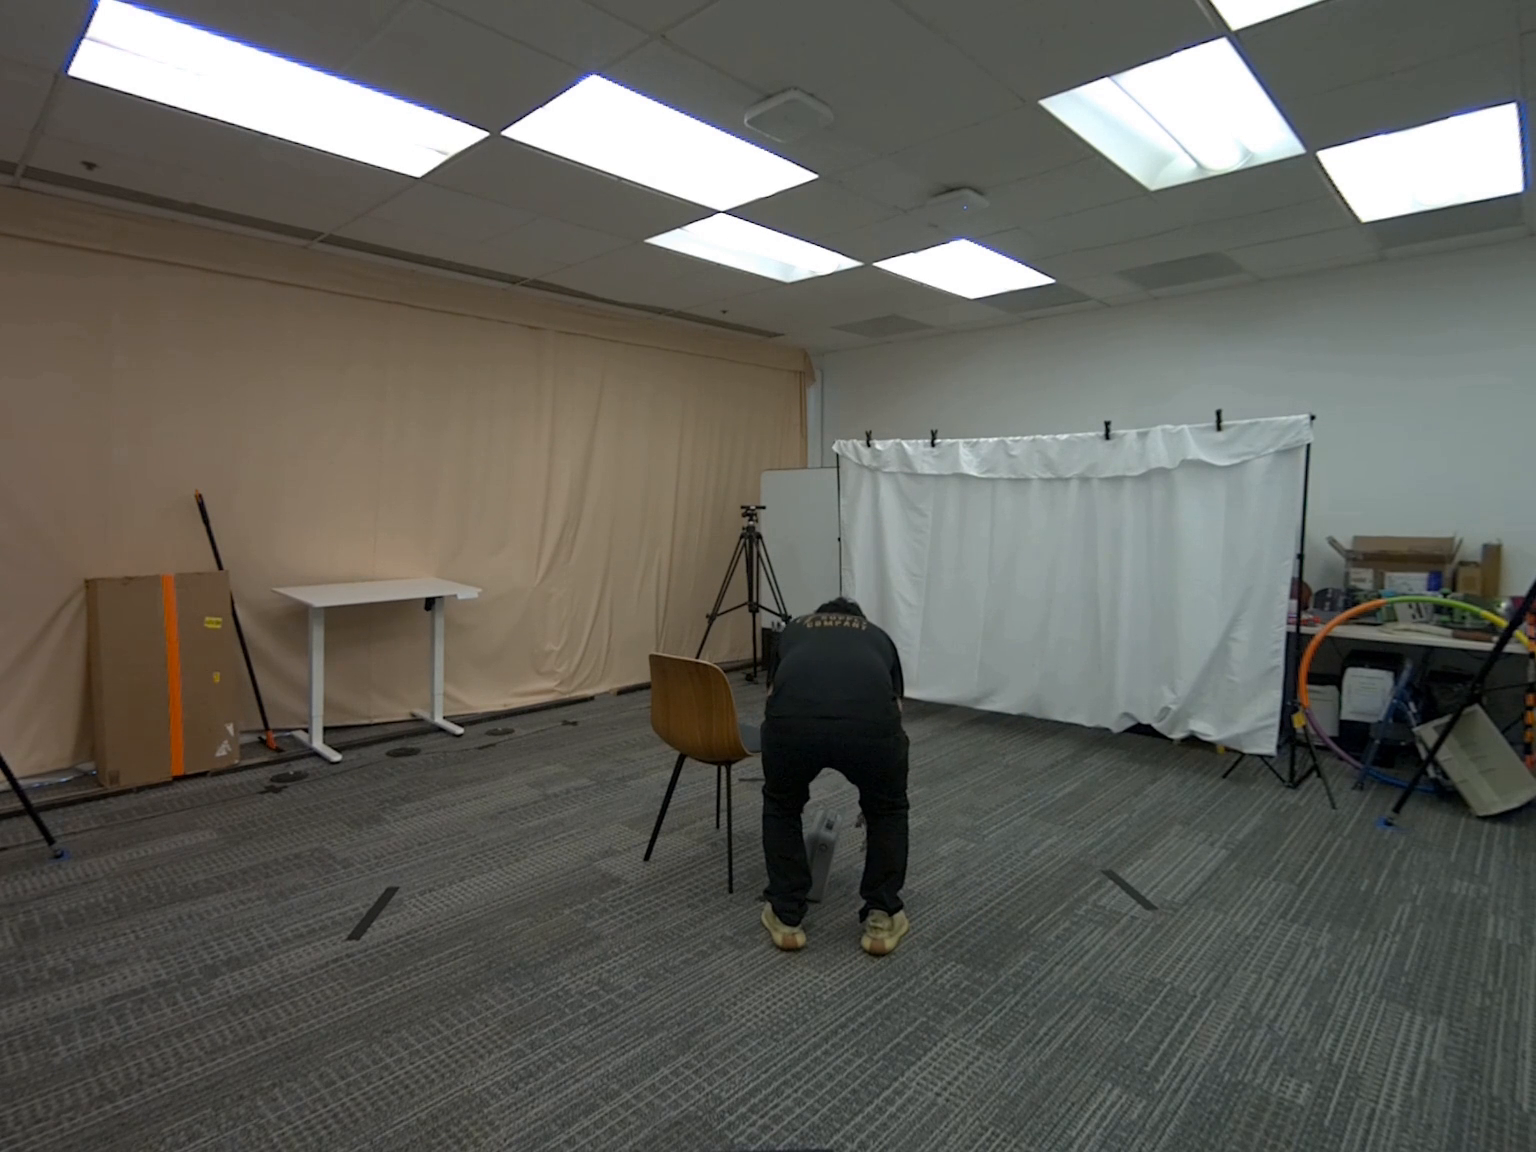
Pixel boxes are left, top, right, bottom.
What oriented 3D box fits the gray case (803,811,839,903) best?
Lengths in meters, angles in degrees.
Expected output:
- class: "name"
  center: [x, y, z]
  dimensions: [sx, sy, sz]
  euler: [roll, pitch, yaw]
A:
- class: "gray case"
  center: [0.186, 1.005, 3.059]
  dimensions: [0.106, 0.260, 0.254]
  euler: [13, 7, 9]
